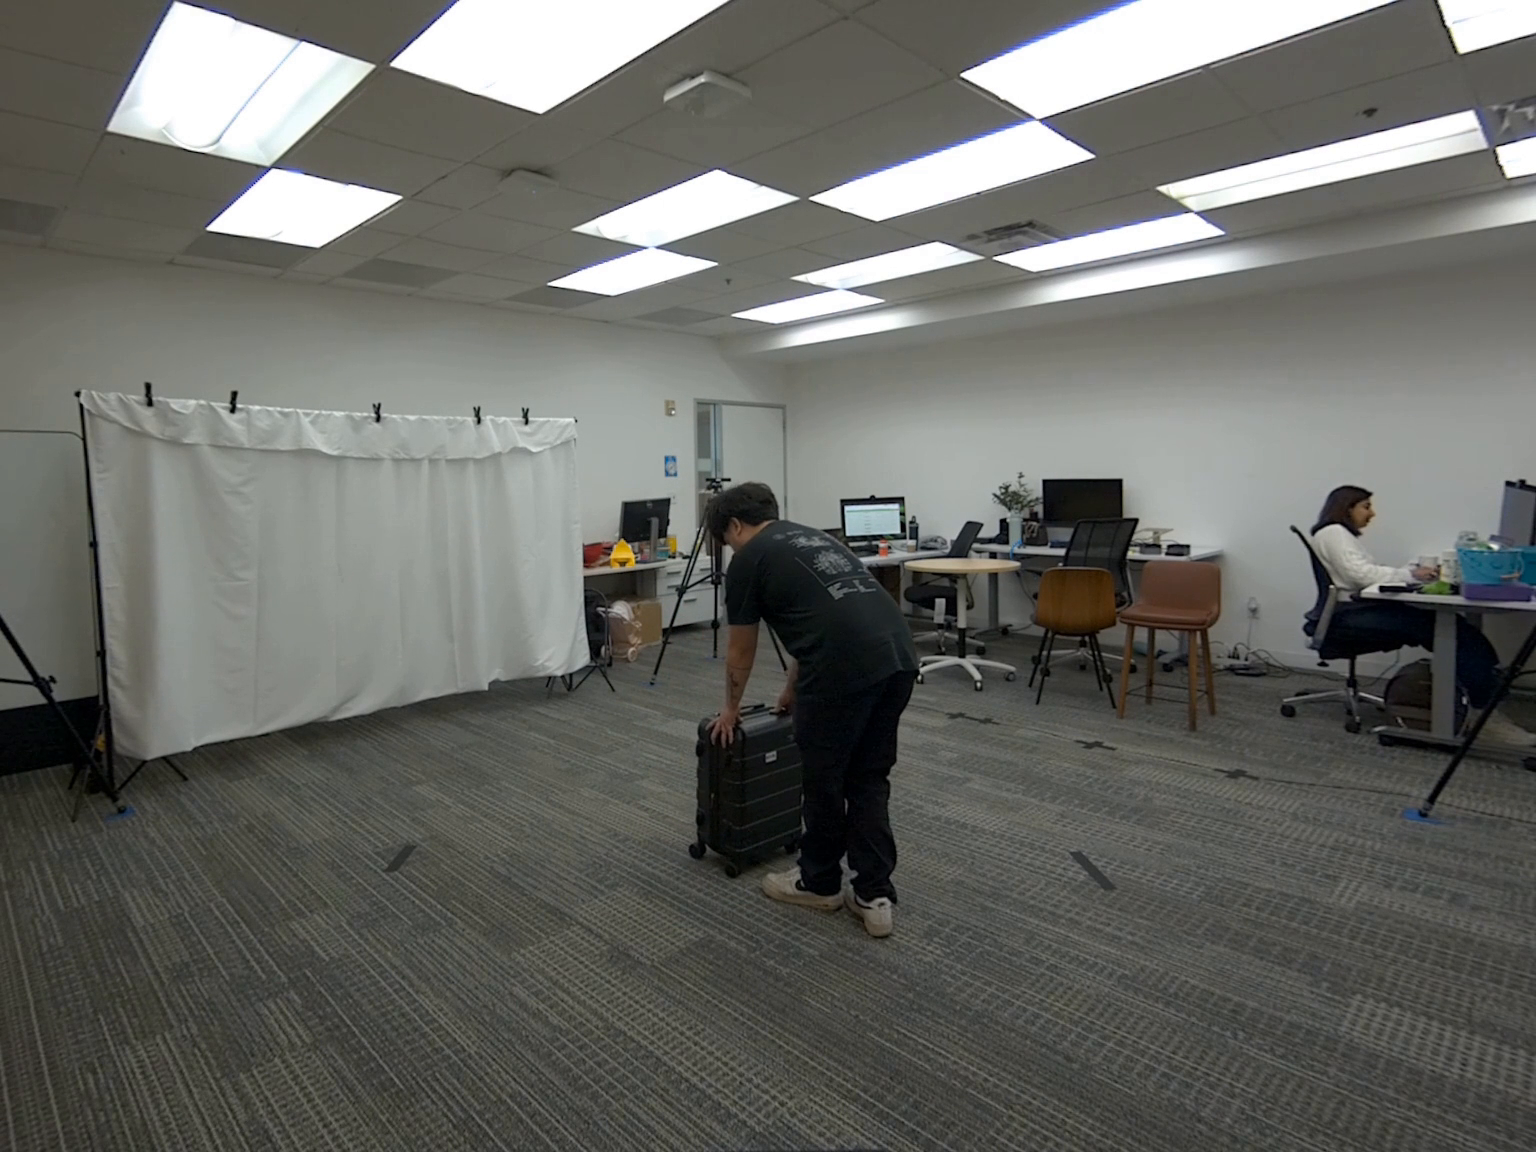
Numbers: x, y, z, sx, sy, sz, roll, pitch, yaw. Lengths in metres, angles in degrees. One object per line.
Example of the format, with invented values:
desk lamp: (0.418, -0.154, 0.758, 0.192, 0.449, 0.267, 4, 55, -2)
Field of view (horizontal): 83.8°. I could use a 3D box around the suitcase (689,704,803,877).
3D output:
suitcase: (-0.063, 0.767, 3.153, 0.365, 0.547, 0.256, -3, 7, -41)
